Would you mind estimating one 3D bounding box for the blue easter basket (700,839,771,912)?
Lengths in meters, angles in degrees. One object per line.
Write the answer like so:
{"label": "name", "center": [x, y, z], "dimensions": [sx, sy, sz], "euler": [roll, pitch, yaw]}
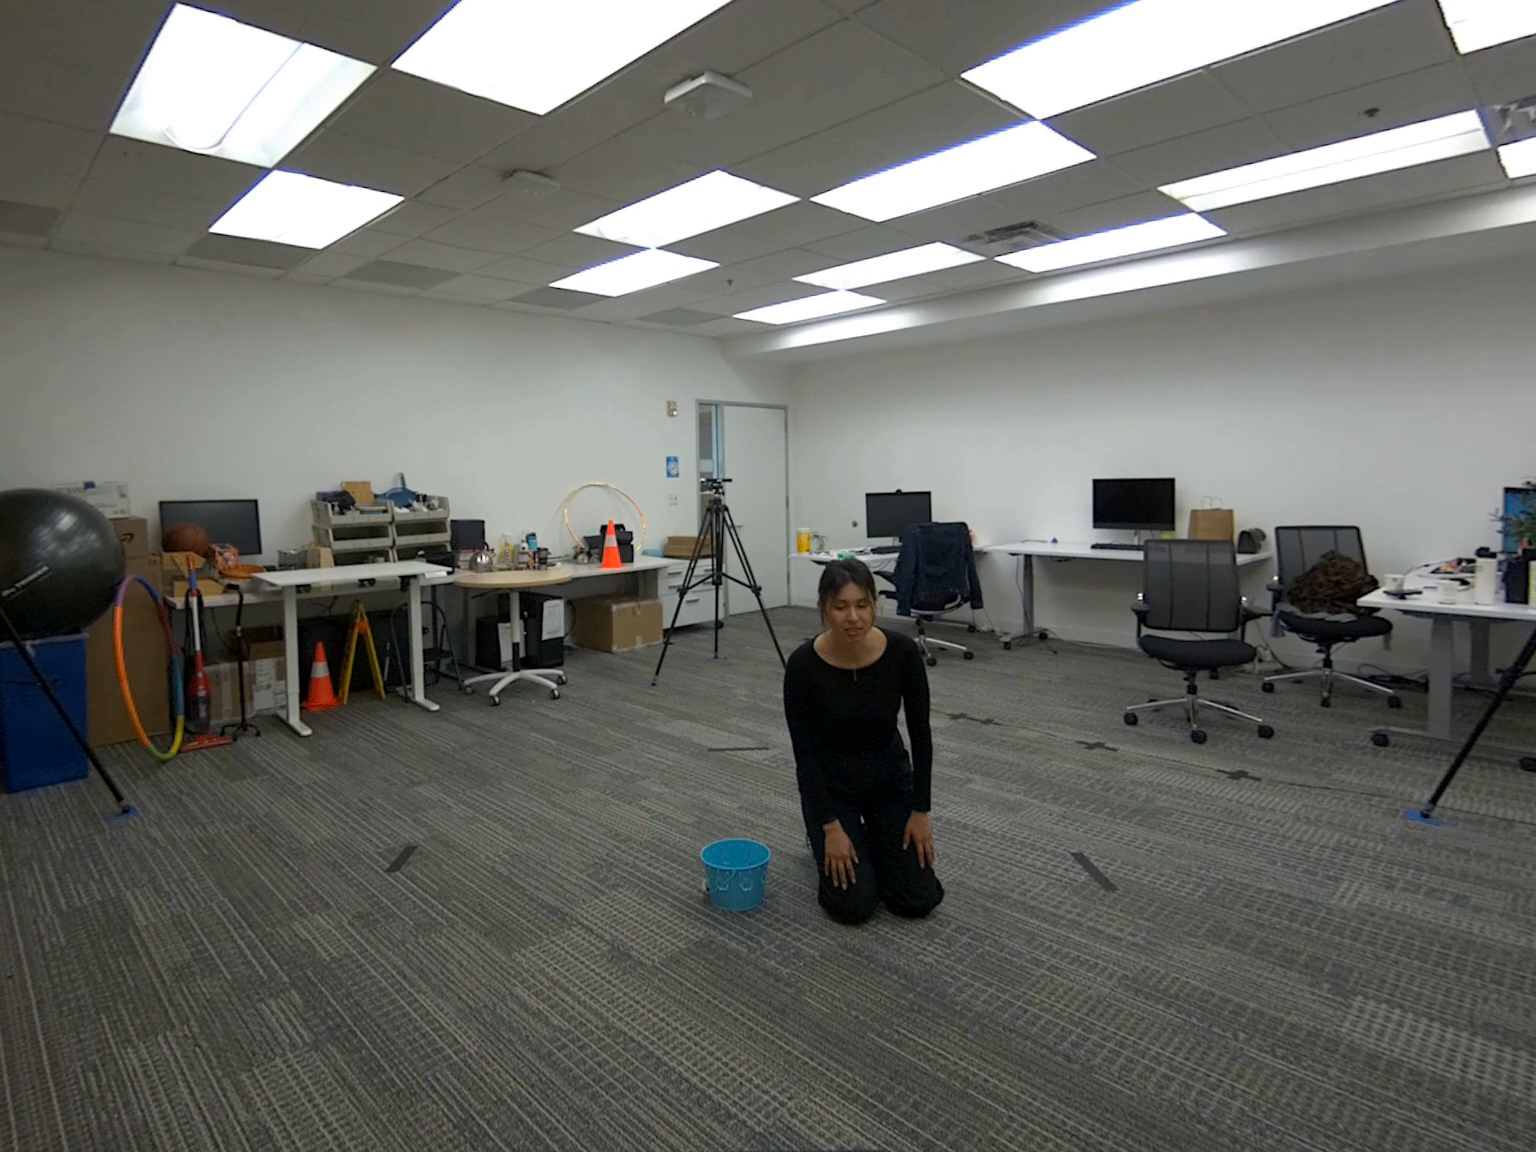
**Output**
{"label": "blue easter basket", "center": [-0.104, 0.996, 2.857], "dimensions": [0.243, 0.155, 0.245], "euler": [-1, 6, -2]}
